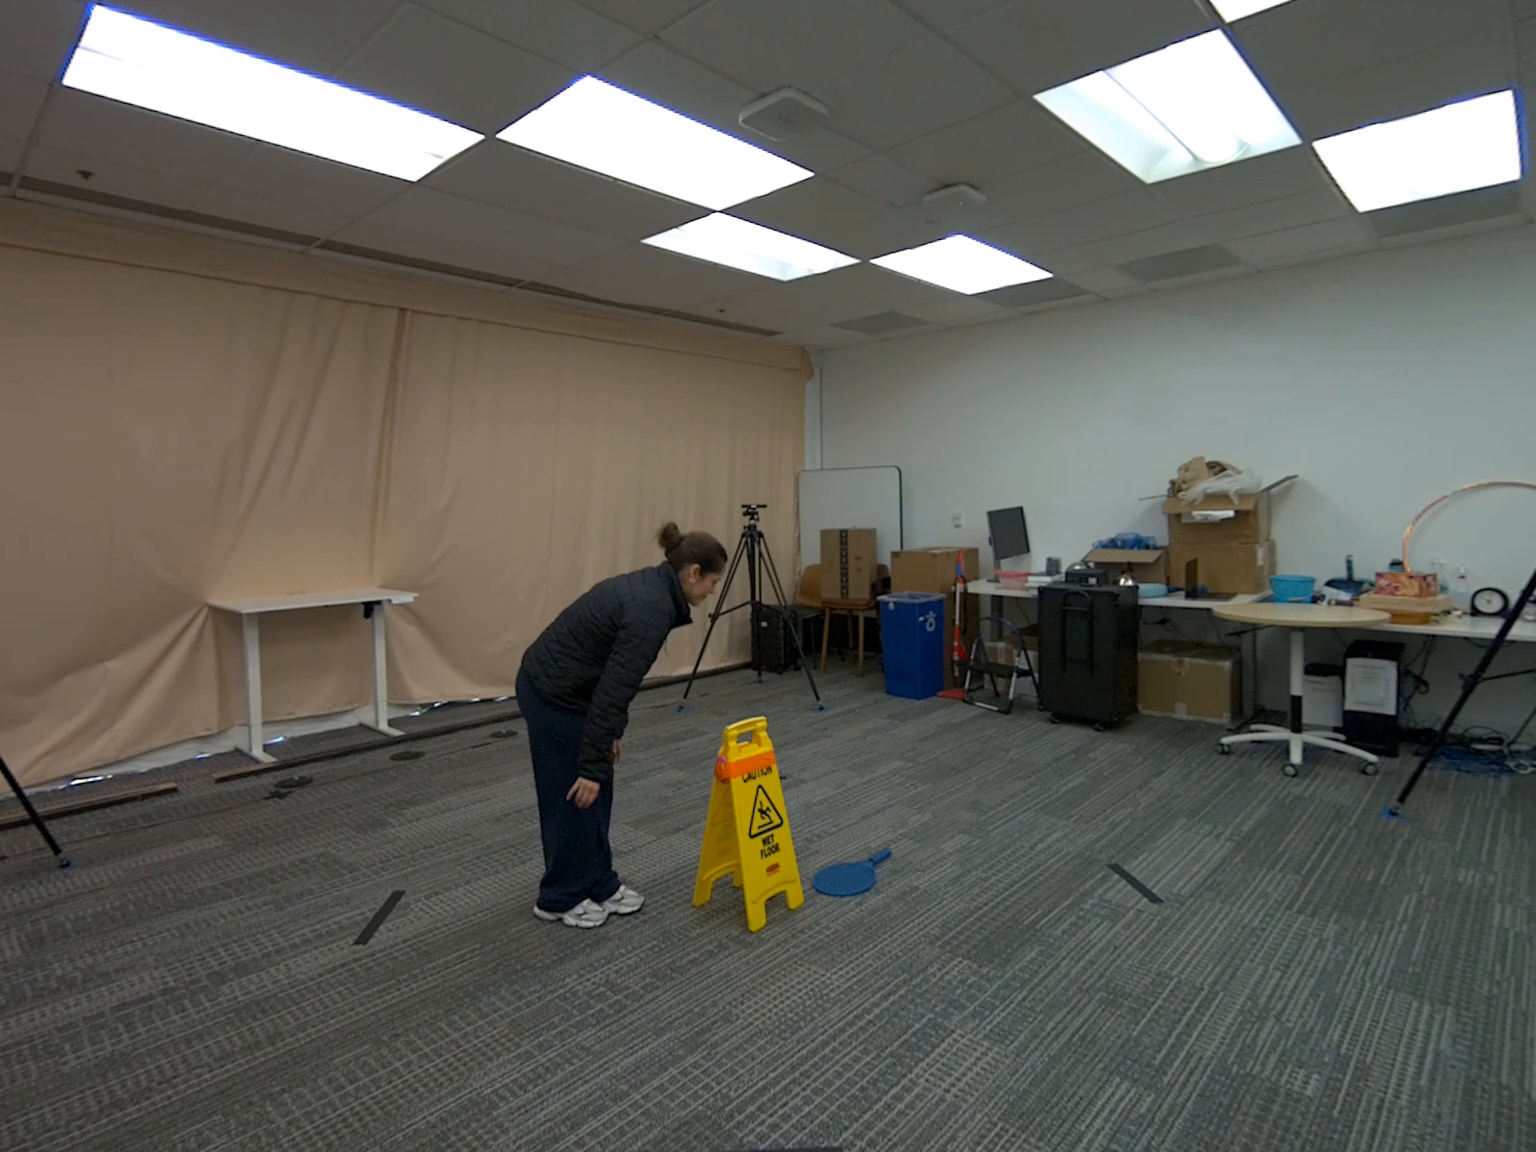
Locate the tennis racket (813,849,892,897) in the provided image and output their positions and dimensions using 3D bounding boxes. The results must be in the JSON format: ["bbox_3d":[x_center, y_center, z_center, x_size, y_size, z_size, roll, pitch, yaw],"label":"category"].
[{"bbox_3d":[0.347,1.103,3.158,0.221,0.031,0.420,5,9,43],"label":"tennis racket"}]
